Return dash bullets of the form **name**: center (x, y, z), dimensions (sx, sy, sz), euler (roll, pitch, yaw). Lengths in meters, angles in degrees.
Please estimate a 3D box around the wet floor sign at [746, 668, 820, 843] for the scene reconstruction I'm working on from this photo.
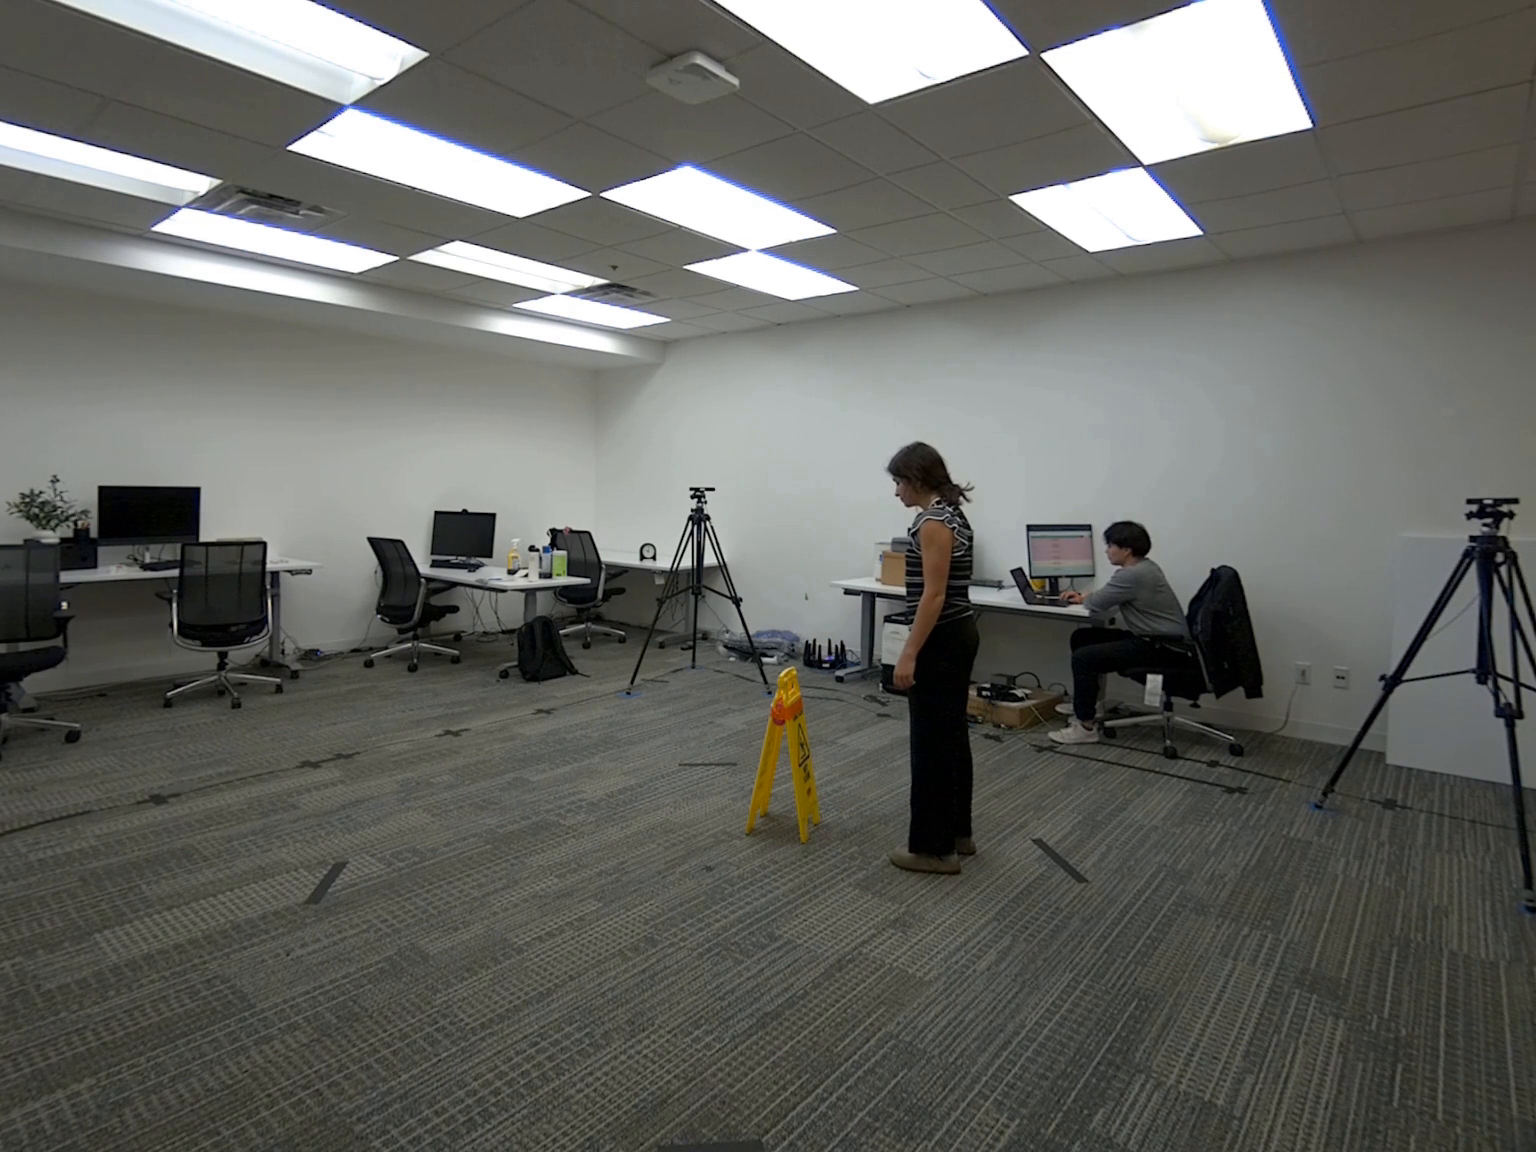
- **wet floor sign**: center (0.068, 0.711, 3.500), dimensions (0.295, 0.644, 0.278), euler (2, 4, 17)
